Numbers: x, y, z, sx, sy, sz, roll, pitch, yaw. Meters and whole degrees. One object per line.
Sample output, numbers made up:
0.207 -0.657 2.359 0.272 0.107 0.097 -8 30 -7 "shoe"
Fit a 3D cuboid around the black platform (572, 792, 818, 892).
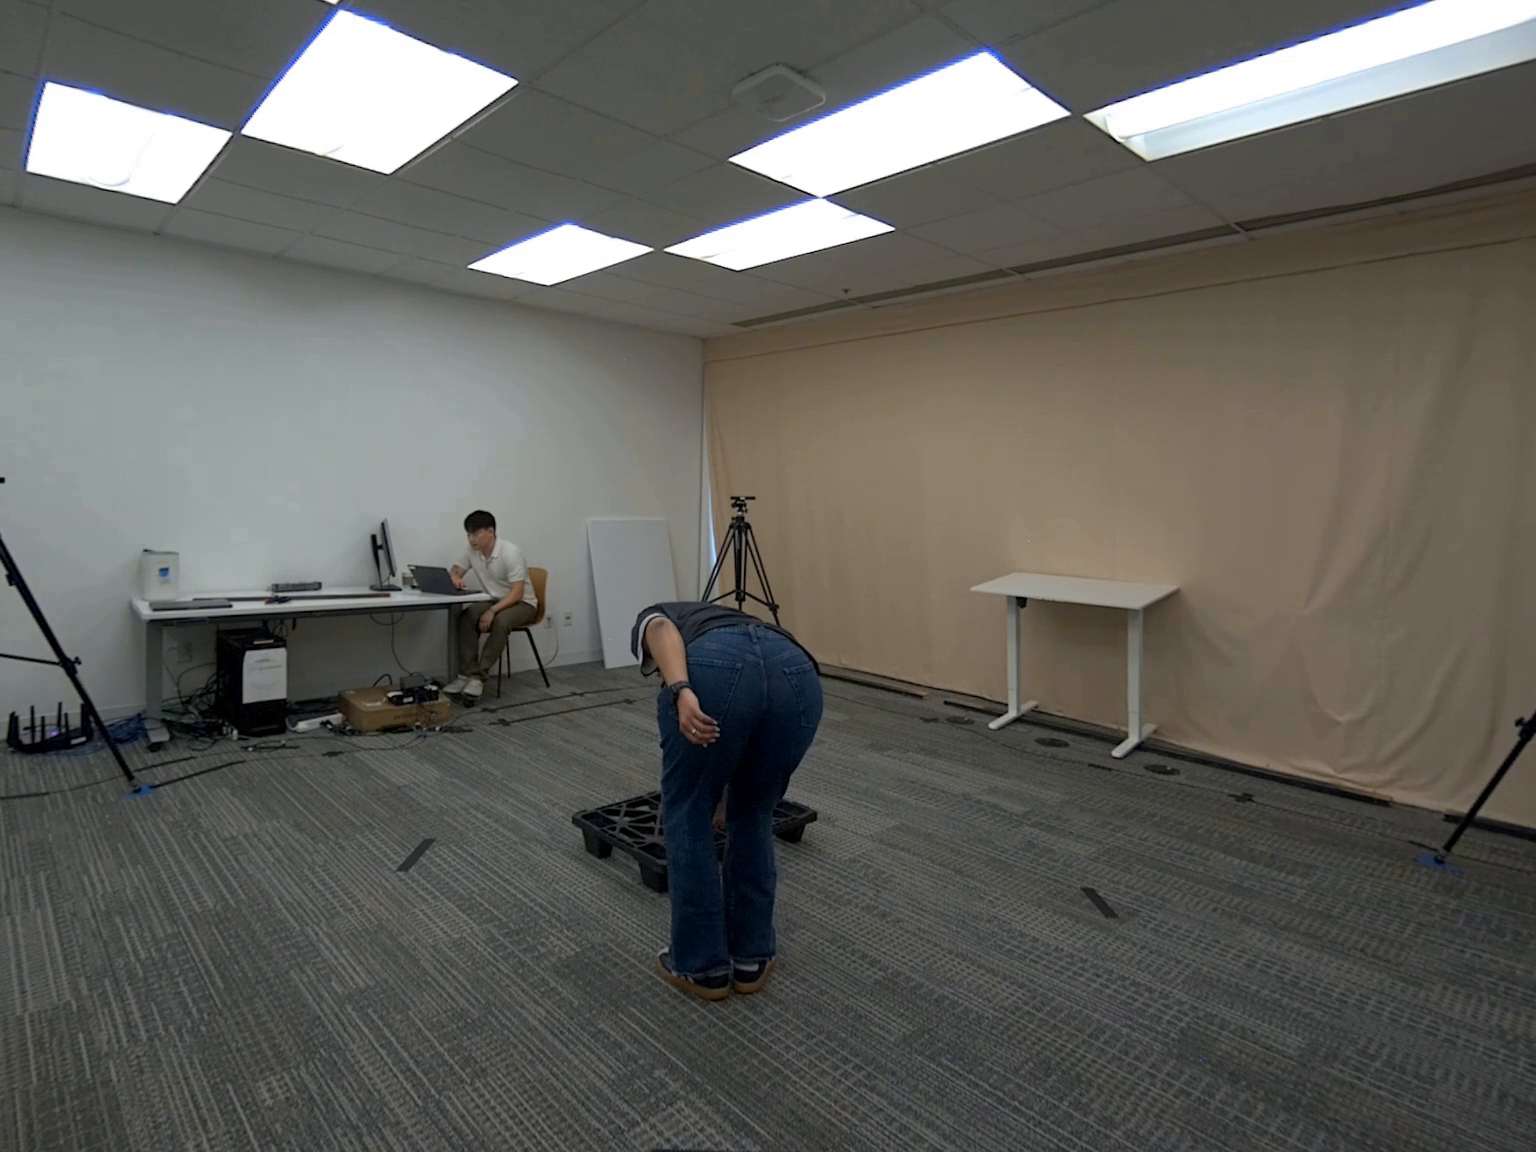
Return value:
-0.295 1.014 3.360 0.787 0.143 0.620 -3 6 -43 "black platform"
